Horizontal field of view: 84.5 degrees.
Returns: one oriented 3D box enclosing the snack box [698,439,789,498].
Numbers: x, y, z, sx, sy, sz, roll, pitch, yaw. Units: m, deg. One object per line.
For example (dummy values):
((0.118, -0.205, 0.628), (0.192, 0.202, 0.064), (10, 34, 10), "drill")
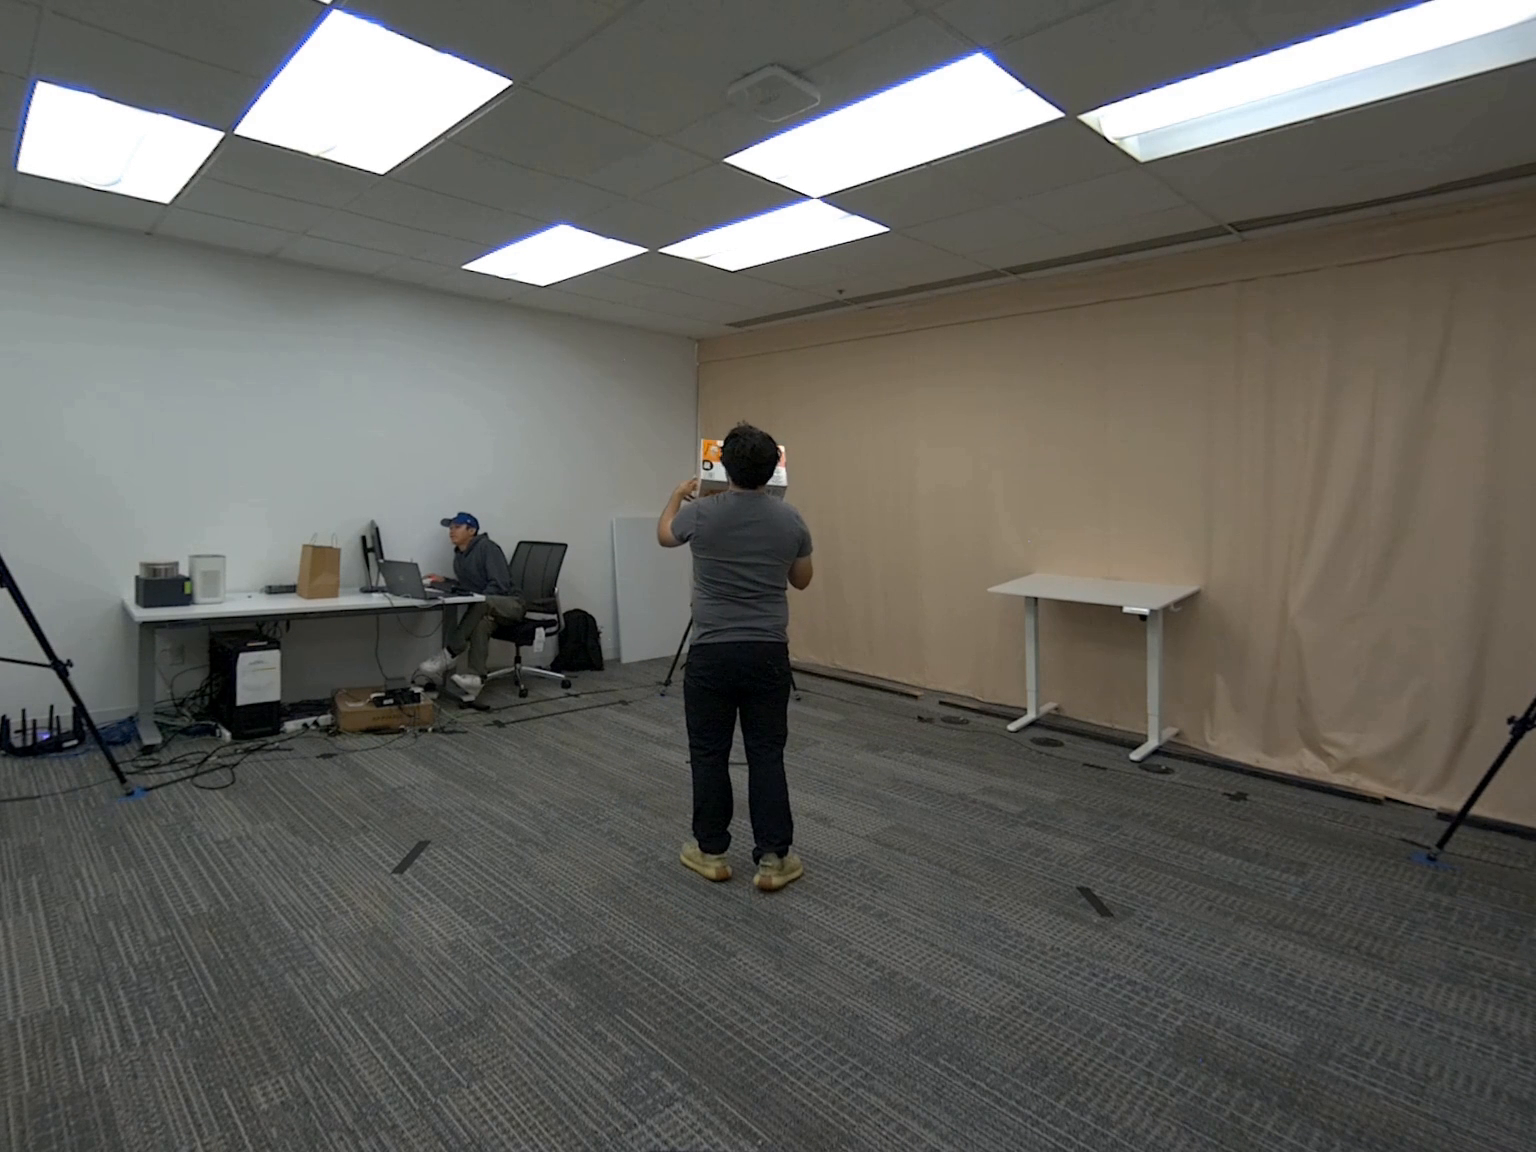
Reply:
((-0.130, -0.343, 3.475), (0.338, 0.210, 0.400), (4, -32, -9), "snack box")
